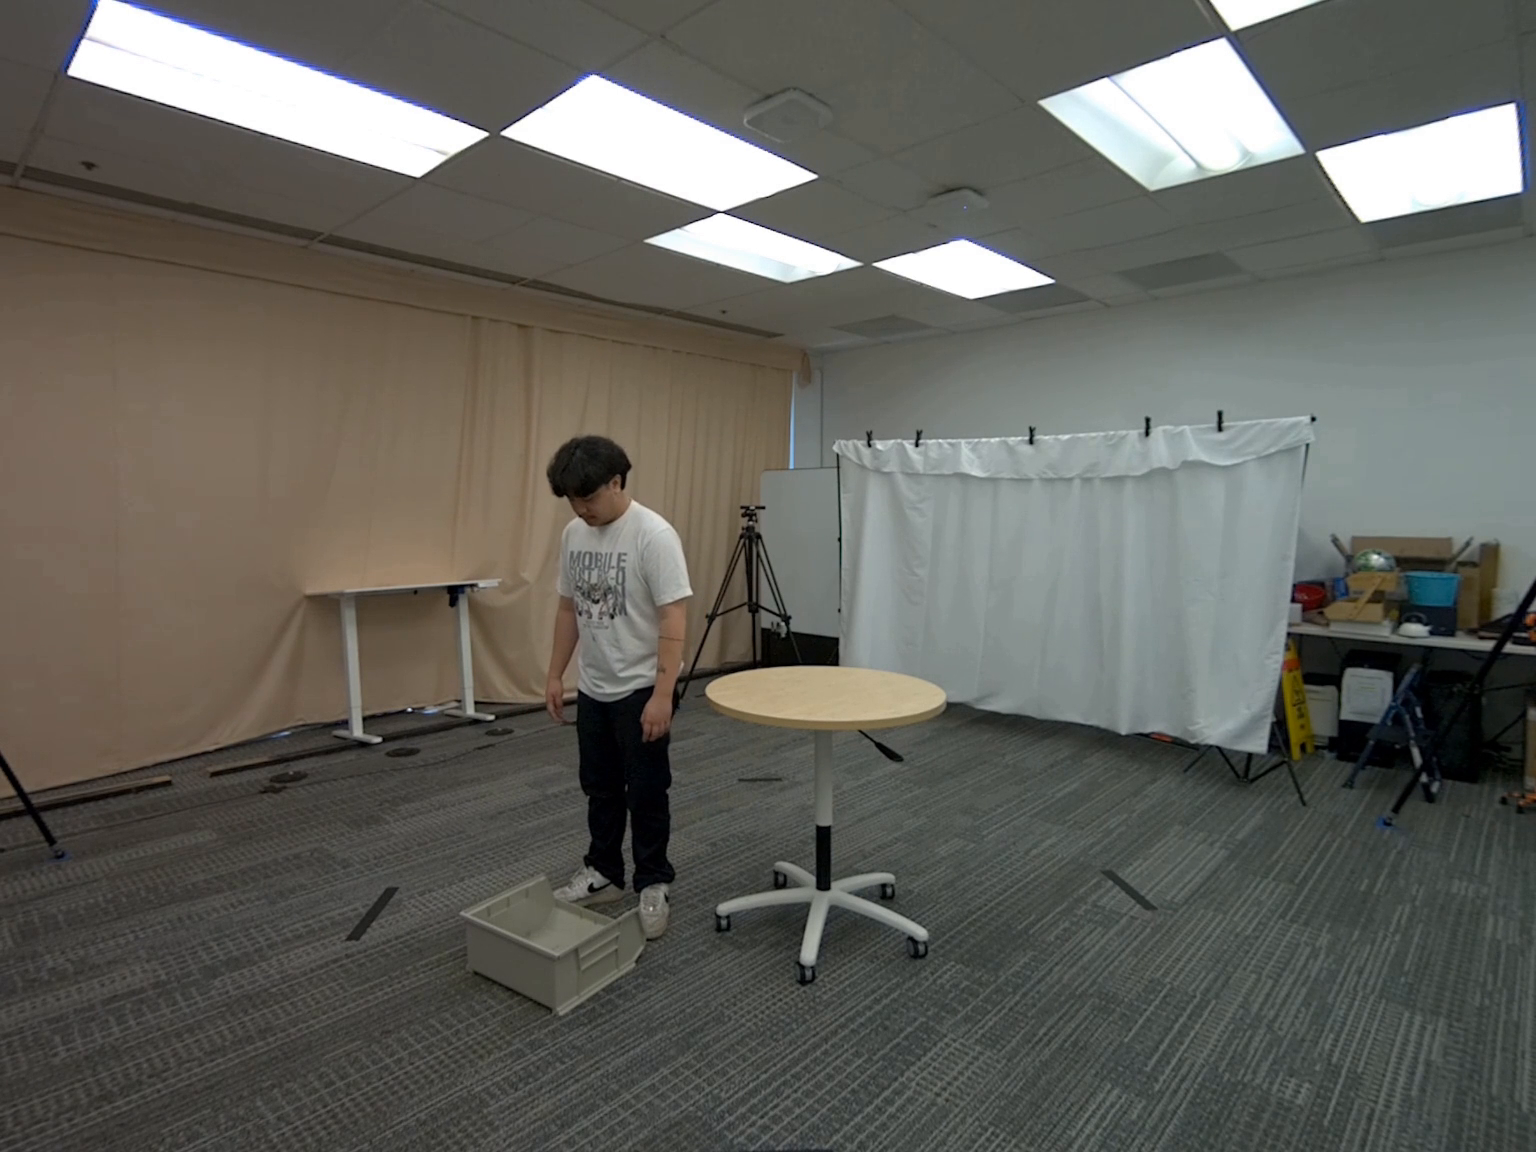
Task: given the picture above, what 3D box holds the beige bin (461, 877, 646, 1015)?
[{"bbox_3d":[-0.644,1.092,2.559,0.435,0.188,0.367,3,6,34],"label":"beige bin"}]
